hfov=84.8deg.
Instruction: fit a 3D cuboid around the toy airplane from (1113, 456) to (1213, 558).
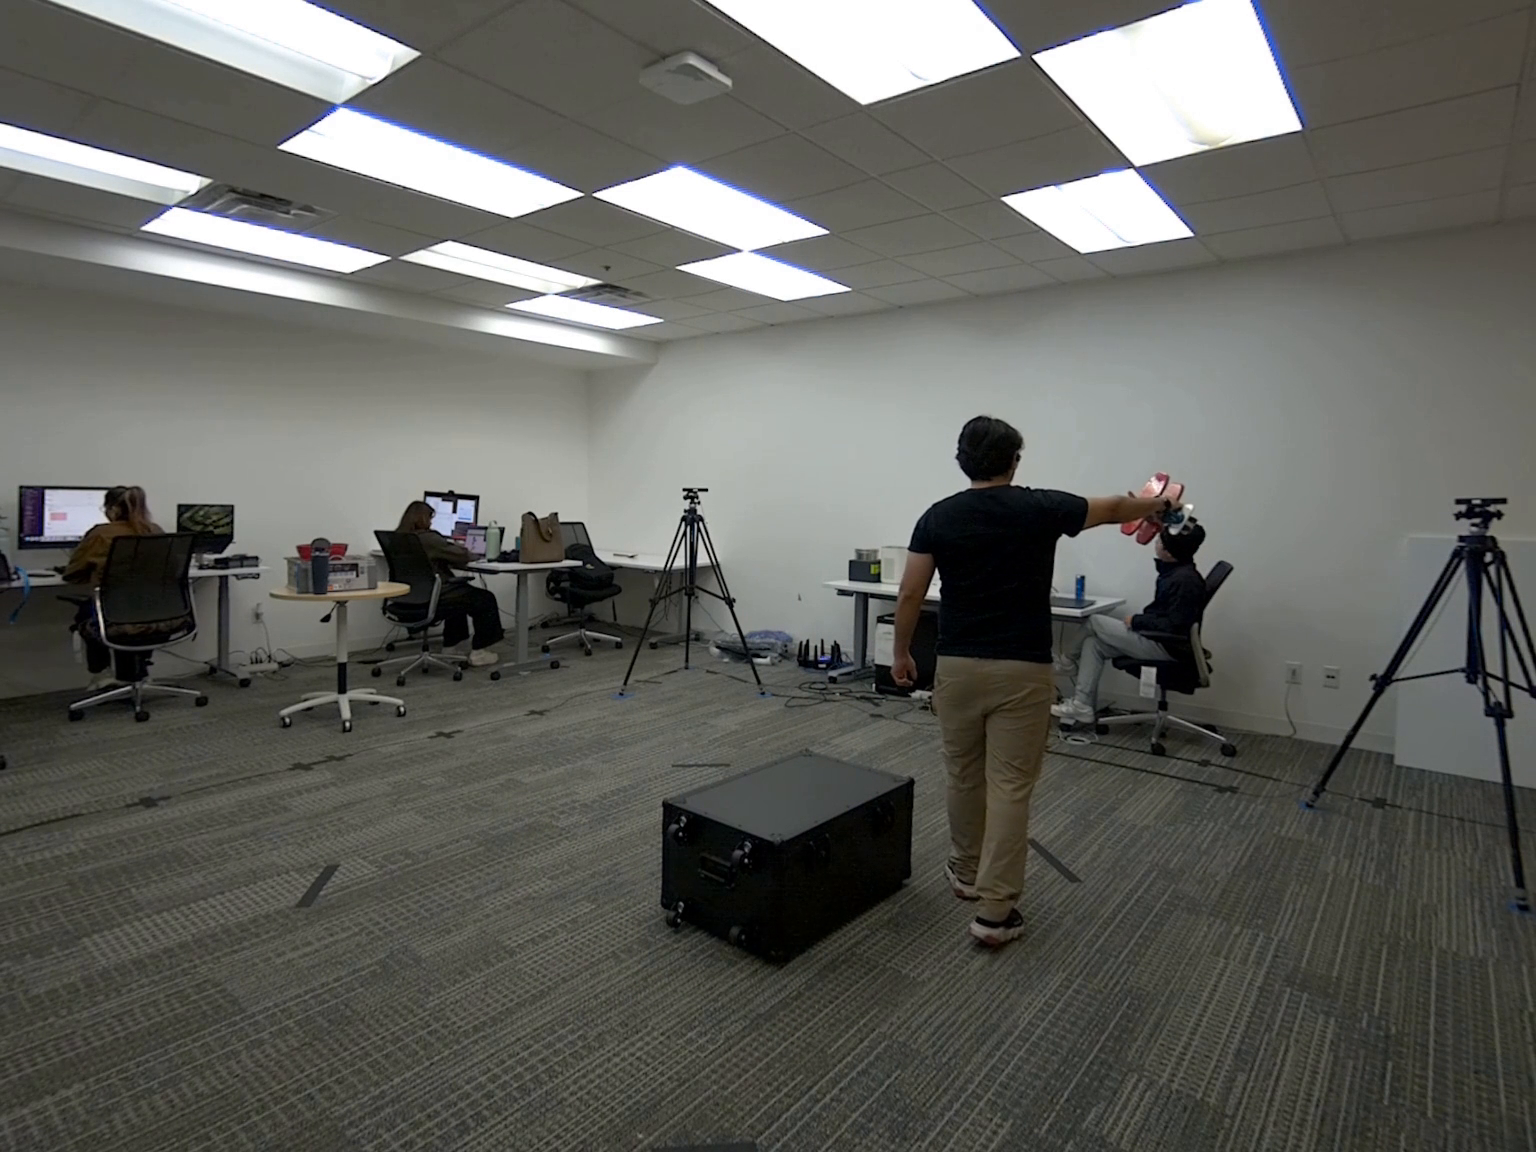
[{"bbox_3d":[1.432,-0.249,3.058,0.156,0.253,0.258,25,-21,-5],"label":"toy airplane"}]
